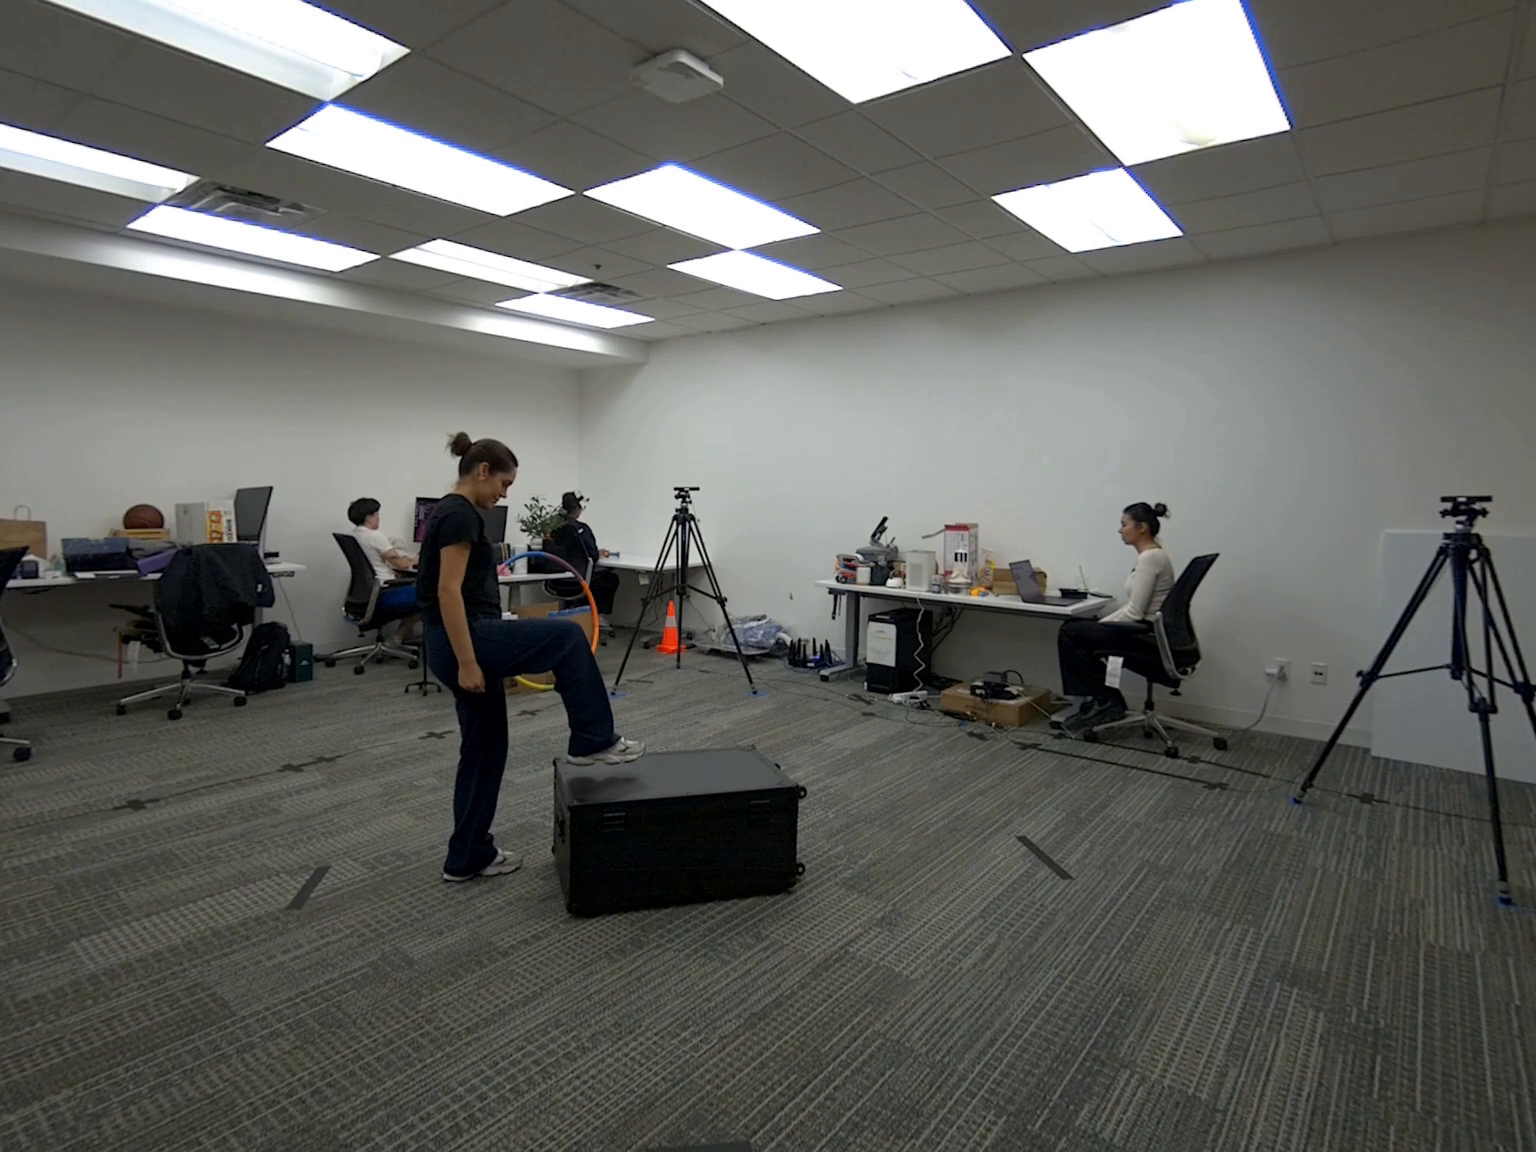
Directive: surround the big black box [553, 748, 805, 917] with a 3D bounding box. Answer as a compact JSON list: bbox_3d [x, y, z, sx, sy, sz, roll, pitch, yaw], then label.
[{"bbox_3d":[-0.303,0.874,3.058,0.846,0.395,0.533,-1,5,-18],"label":"big black box"}]
